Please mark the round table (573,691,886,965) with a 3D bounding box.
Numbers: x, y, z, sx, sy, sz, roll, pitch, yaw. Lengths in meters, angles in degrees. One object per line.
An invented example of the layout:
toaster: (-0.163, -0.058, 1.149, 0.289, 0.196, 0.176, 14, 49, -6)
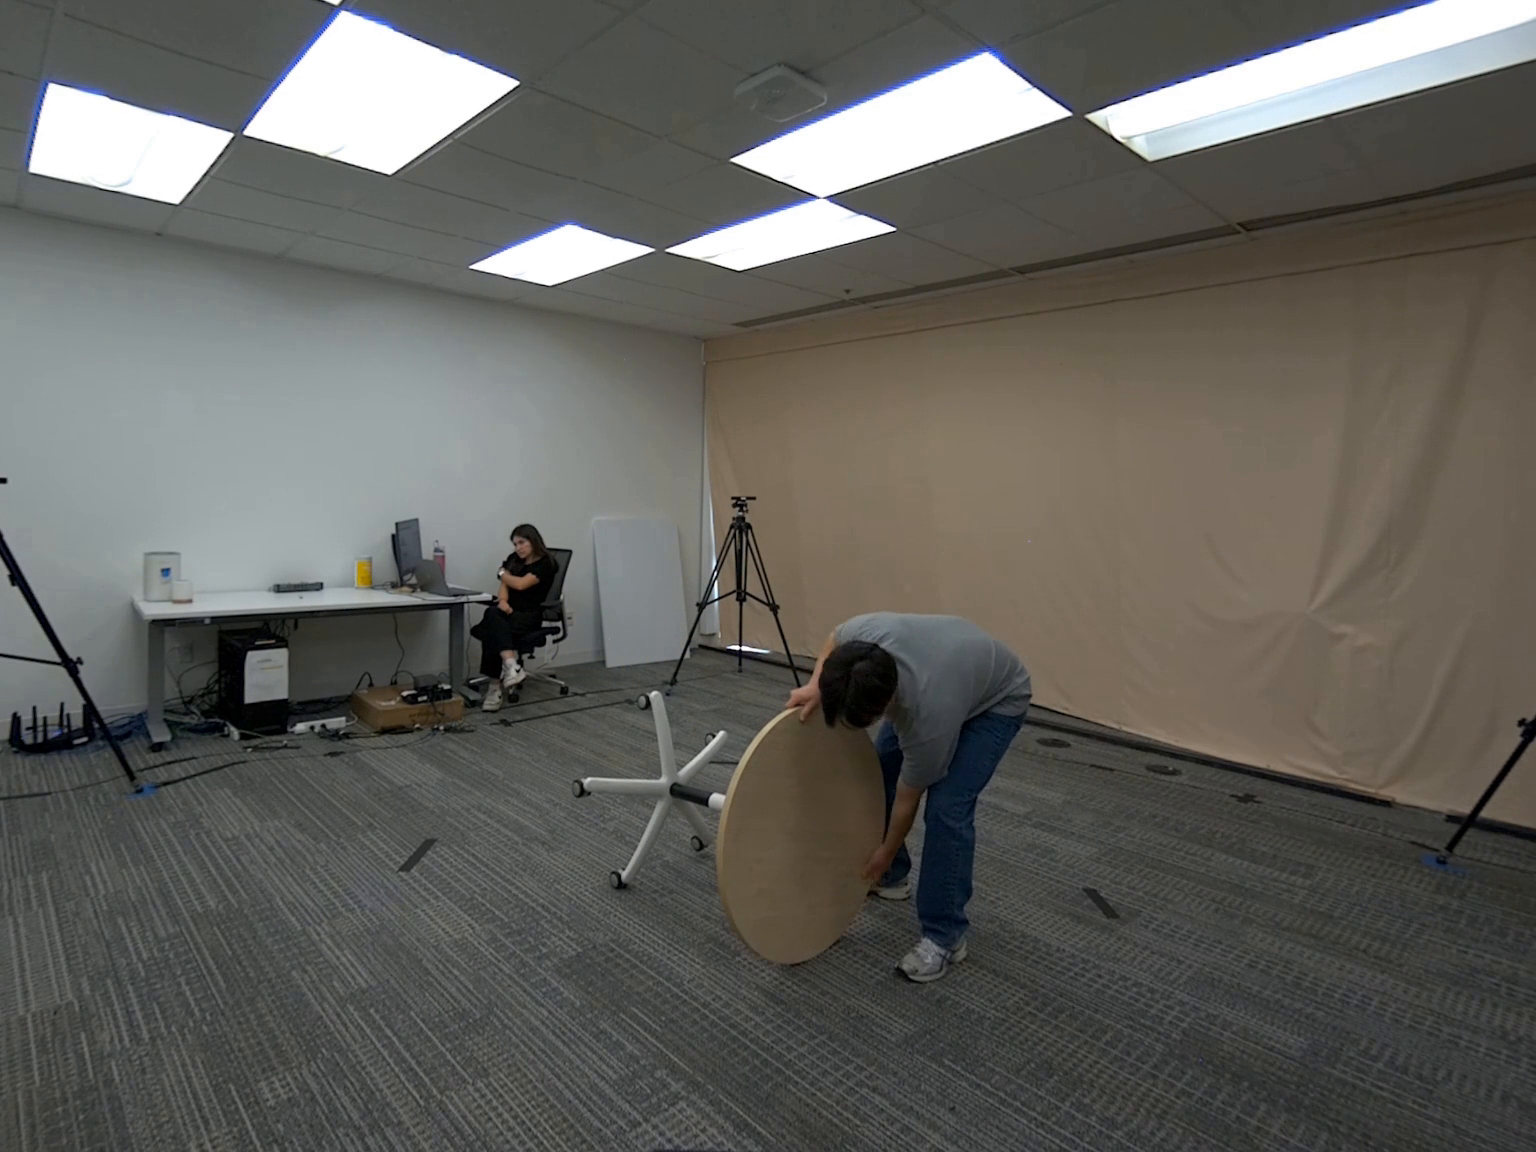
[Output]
round table: (-0.156, 0.778, 2.851, 0.812, 0.764, 0.746, -1, 1, 45)
